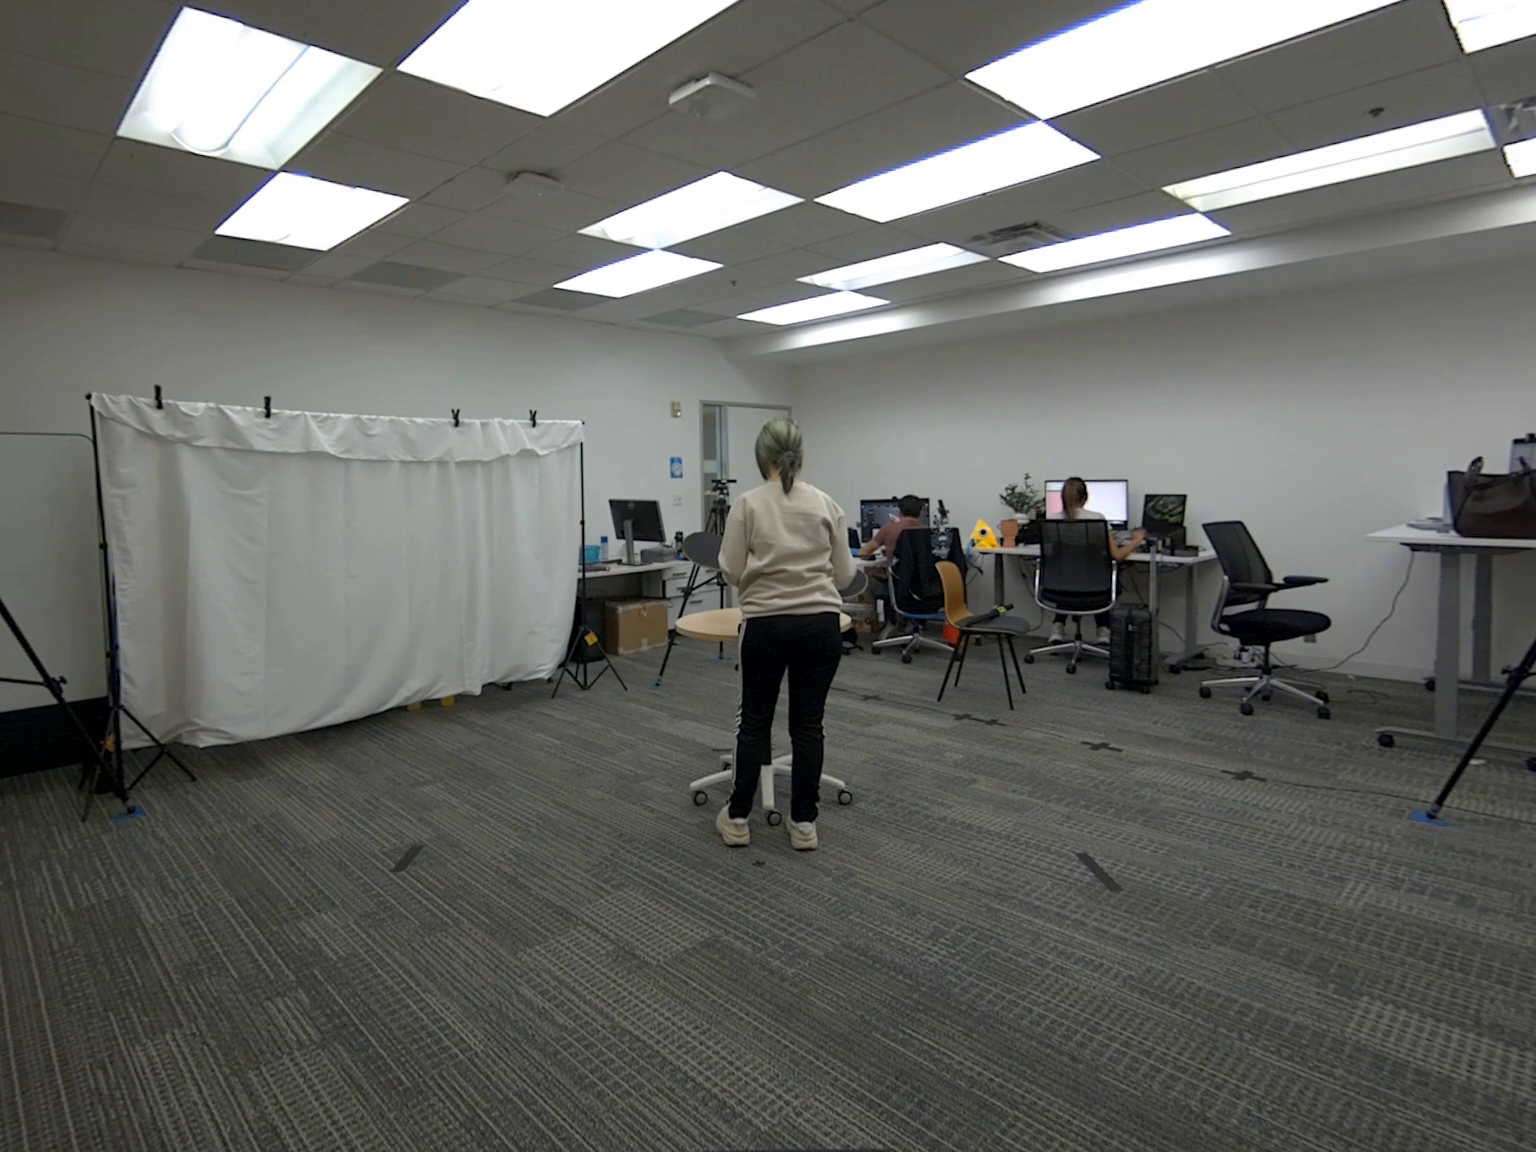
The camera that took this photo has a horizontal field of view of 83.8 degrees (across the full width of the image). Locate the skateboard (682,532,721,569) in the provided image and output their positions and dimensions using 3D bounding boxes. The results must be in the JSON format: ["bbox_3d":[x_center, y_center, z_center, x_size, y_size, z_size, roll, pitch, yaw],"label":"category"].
[{"bbox_3d":[-0.001,-0.027,3.566,0.798,0.107,0.196,12,47,14],"label":"skateboard"}]
